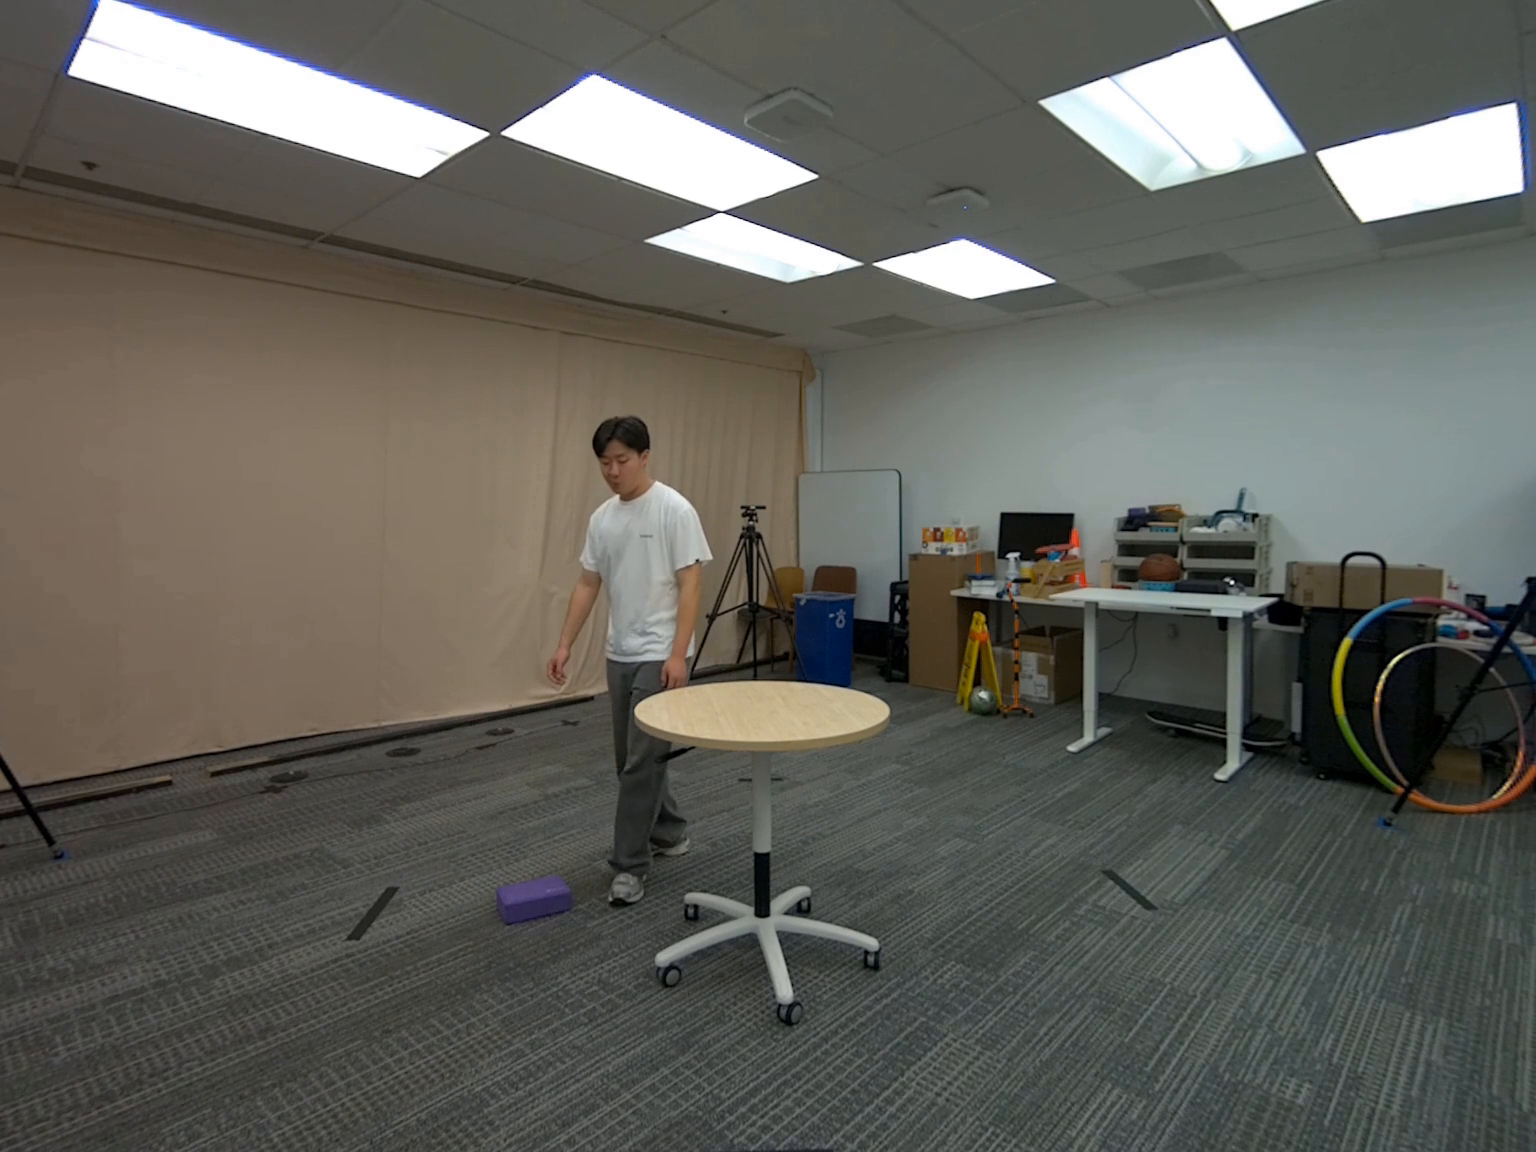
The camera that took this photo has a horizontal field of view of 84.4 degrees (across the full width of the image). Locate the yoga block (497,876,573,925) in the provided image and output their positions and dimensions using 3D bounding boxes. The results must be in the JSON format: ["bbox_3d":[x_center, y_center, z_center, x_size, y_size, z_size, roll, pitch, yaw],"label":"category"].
[{"bbox_3d":[-0.804,1.120,2.911,0.223,0.076,0.153,-4,5,-29],"label":"yoga block"}]
